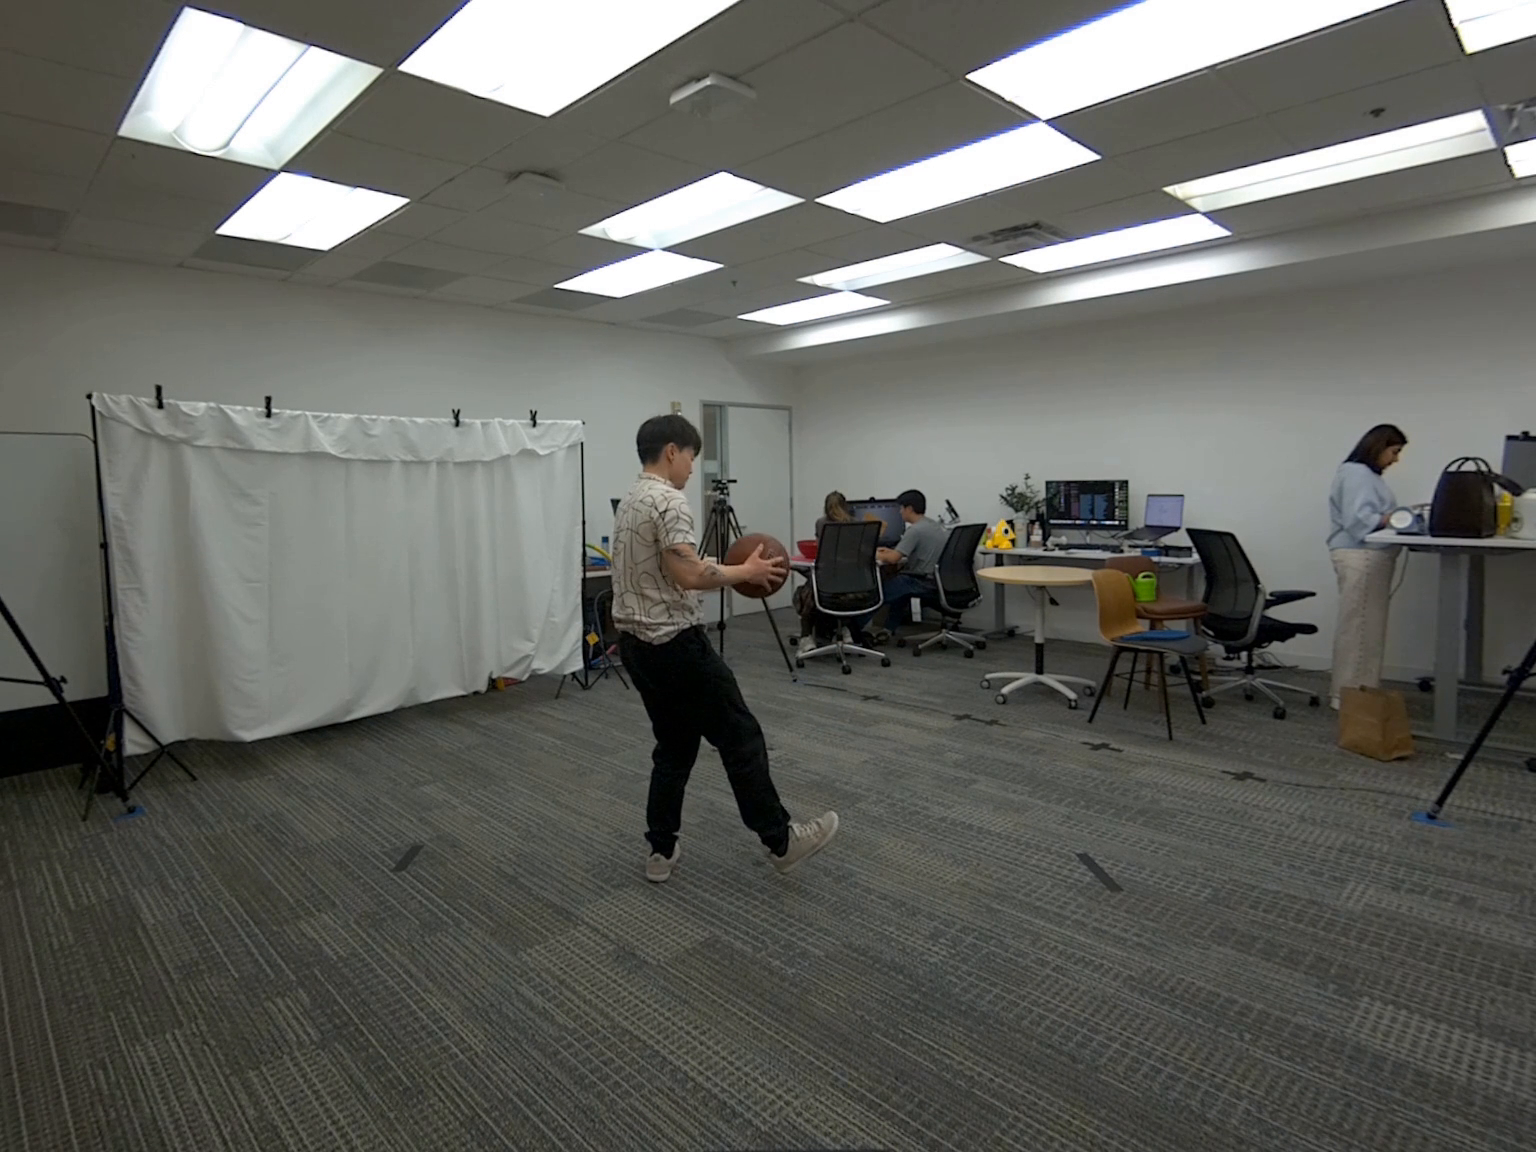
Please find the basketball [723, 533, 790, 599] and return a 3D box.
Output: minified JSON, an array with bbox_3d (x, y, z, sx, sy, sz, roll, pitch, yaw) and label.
[{"bbox_3d":[-0.049,-0.026,3.091,0.236,0.235,0.237,-1,5,-2],"label":"basketball"}]
